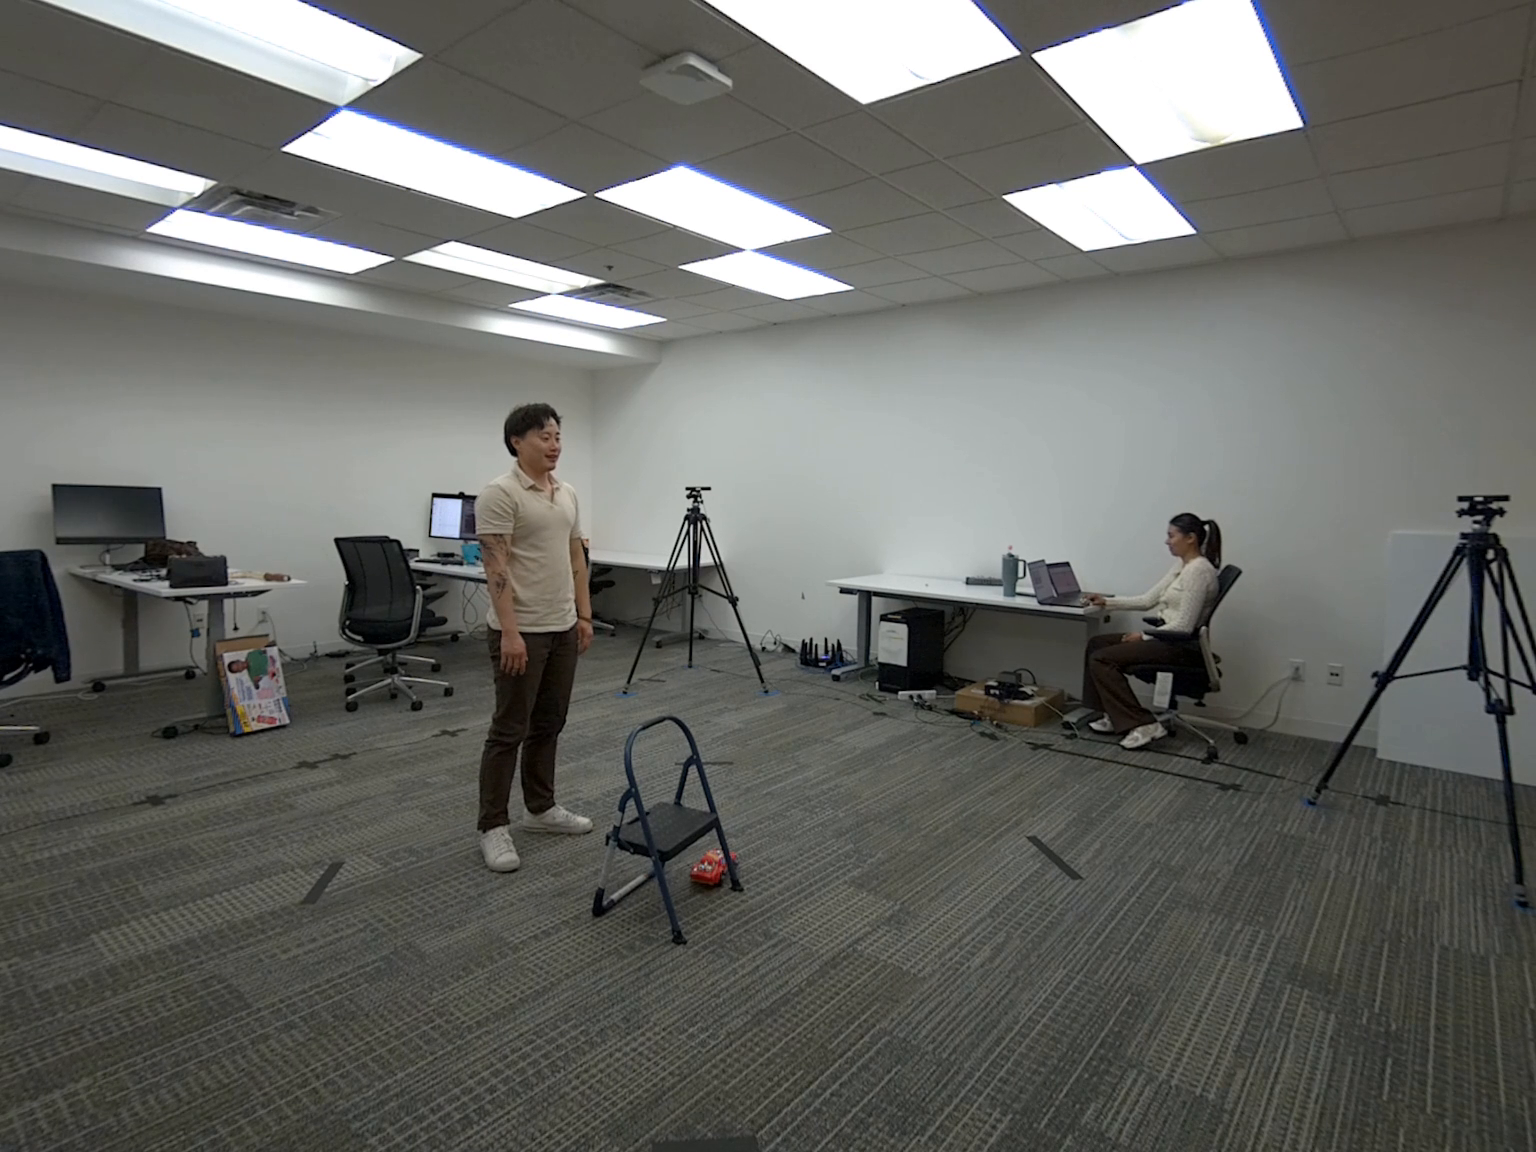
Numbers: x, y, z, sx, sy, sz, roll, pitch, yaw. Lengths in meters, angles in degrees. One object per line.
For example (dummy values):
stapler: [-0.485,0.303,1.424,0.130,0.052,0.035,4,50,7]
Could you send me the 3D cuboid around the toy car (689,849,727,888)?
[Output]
toy car: [-0.207,1.042,3.043,0.133,0.083,0.248,4,-4,19]
